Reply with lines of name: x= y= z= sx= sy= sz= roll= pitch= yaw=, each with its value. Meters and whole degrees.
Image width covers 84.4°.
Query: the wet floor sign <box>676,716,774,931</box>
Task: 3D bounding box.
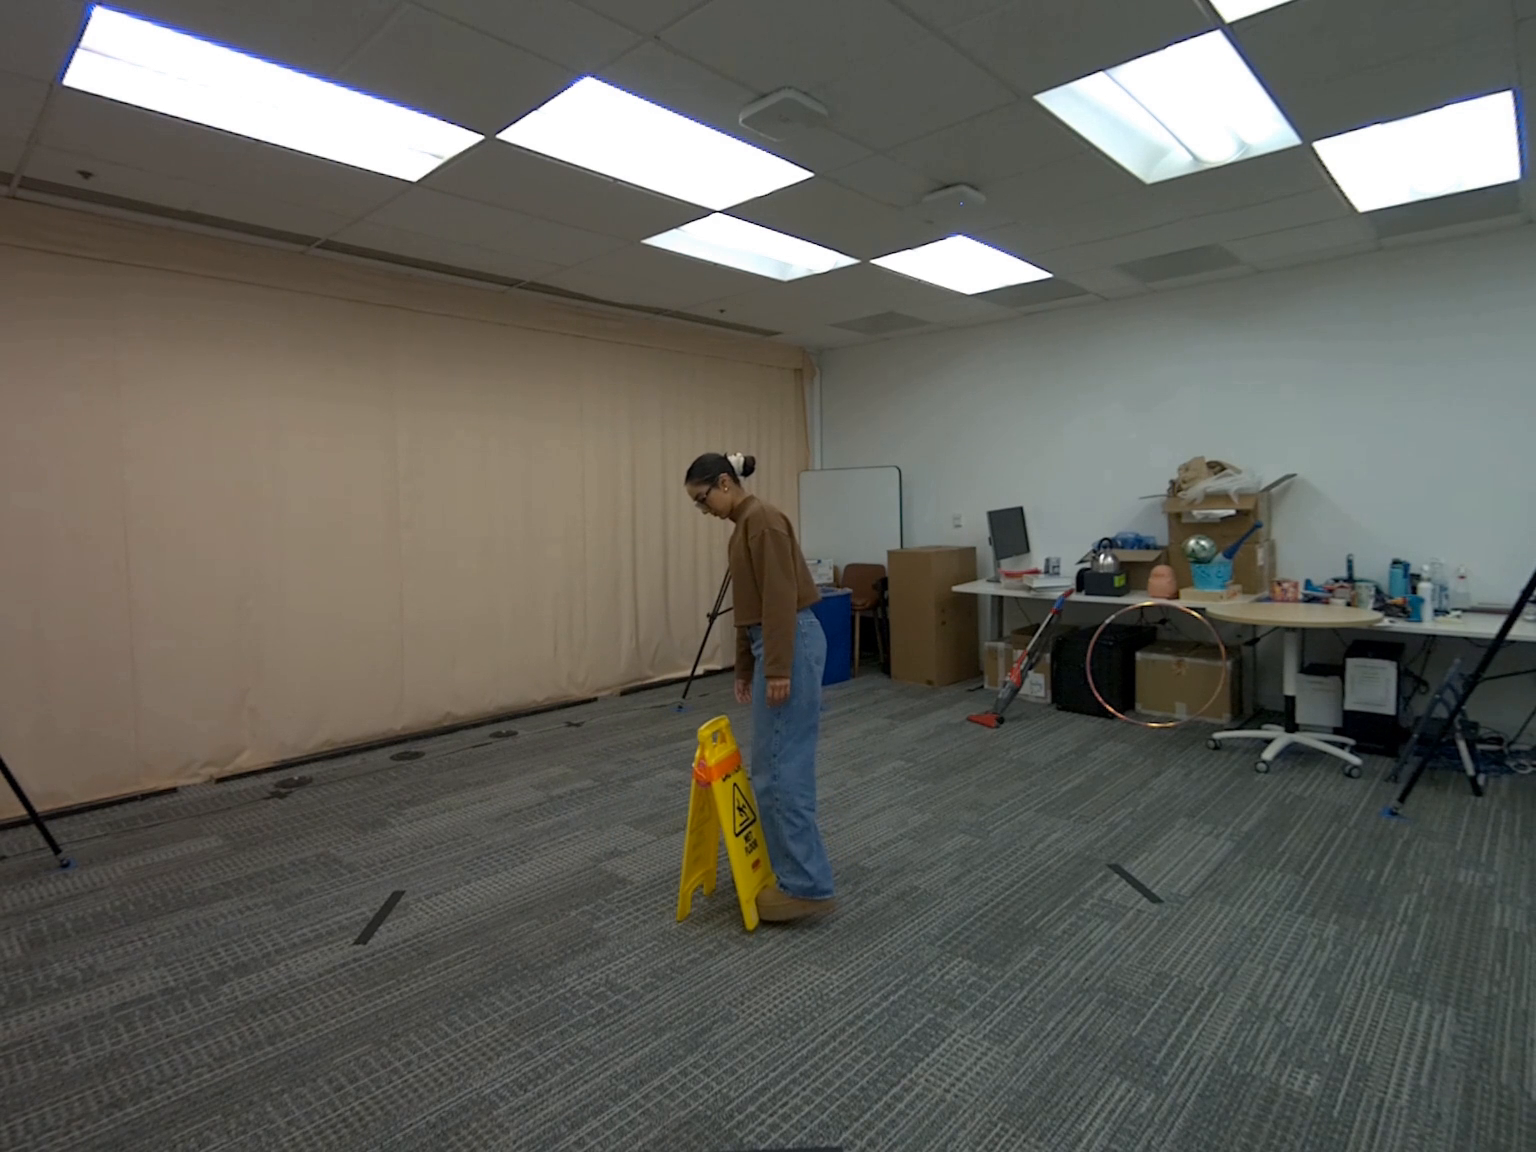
wet floor sign: x=-0.159 y=0.823 z=2.875 sx=0.296 sy=0.646 sz=0.276 roll=-5 pitch=0 yaw=21
